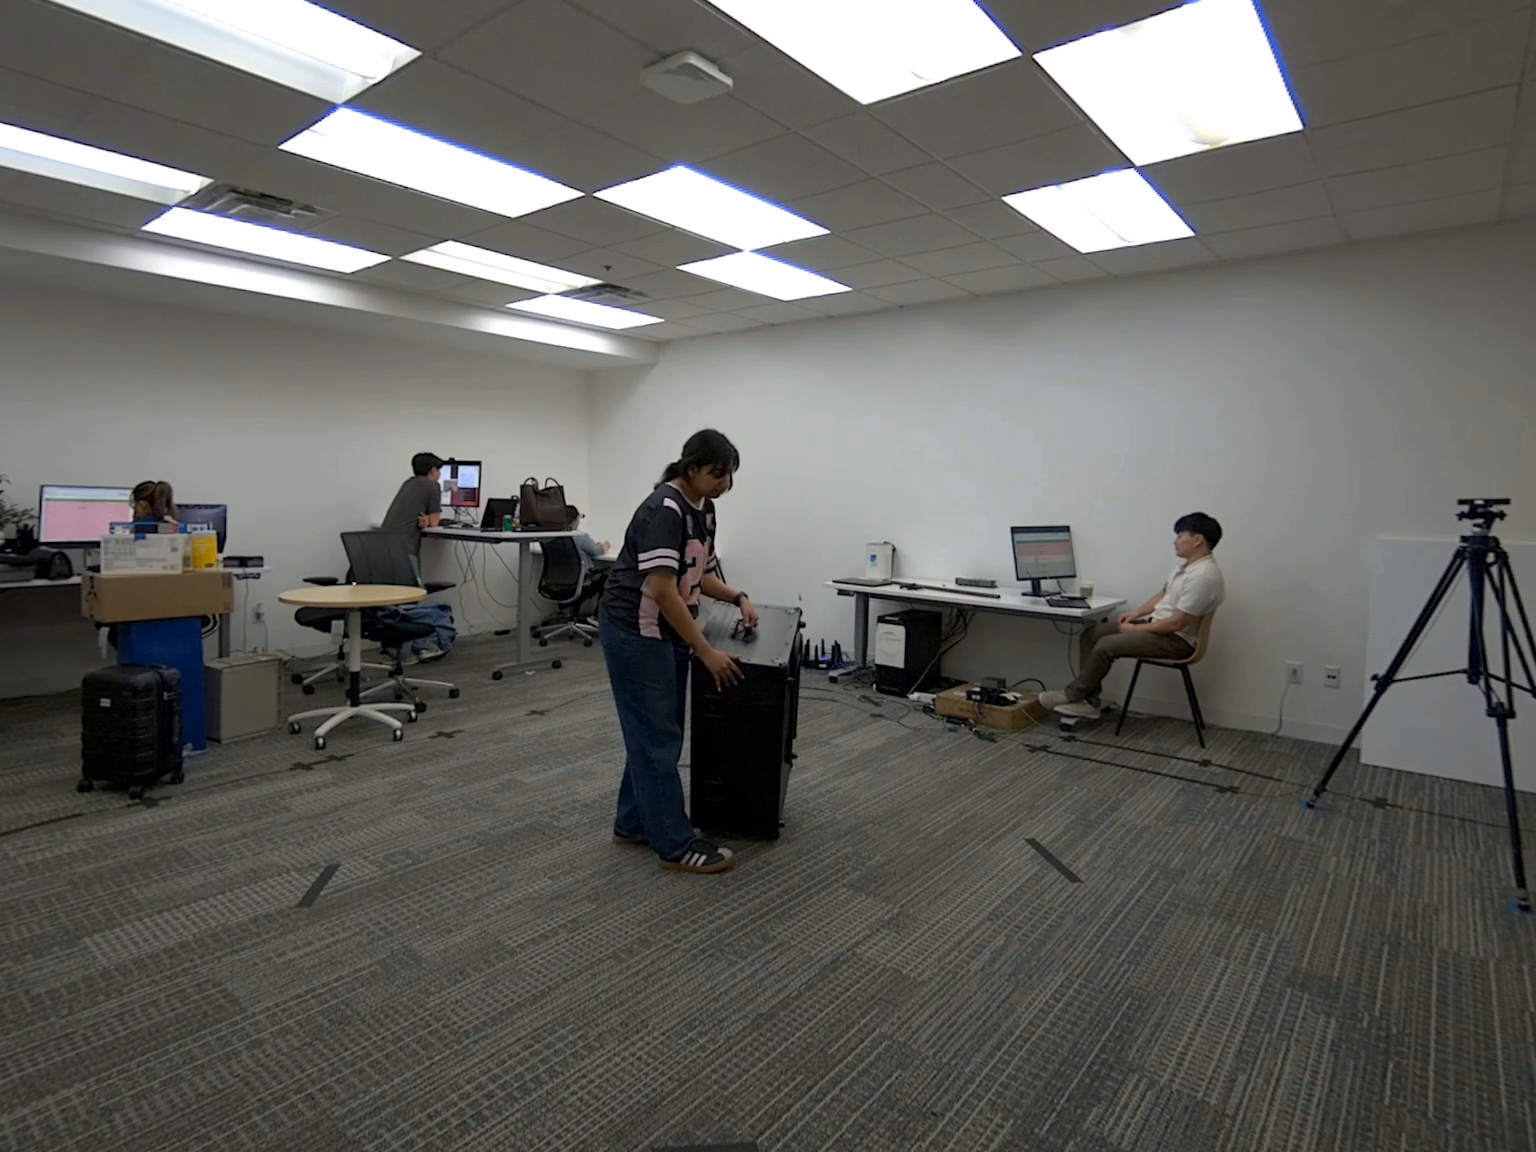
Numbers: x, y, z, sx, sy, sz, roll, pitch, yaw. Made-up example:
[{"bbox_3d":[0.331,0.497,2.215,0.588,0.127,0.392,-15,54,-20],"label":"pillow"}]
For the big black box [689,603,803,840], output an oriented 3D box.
[{"bbox_3d":[-0.091,0.597,3.439,0.389,0.851,0.529,5,23,6],"label":"big black box"}]
